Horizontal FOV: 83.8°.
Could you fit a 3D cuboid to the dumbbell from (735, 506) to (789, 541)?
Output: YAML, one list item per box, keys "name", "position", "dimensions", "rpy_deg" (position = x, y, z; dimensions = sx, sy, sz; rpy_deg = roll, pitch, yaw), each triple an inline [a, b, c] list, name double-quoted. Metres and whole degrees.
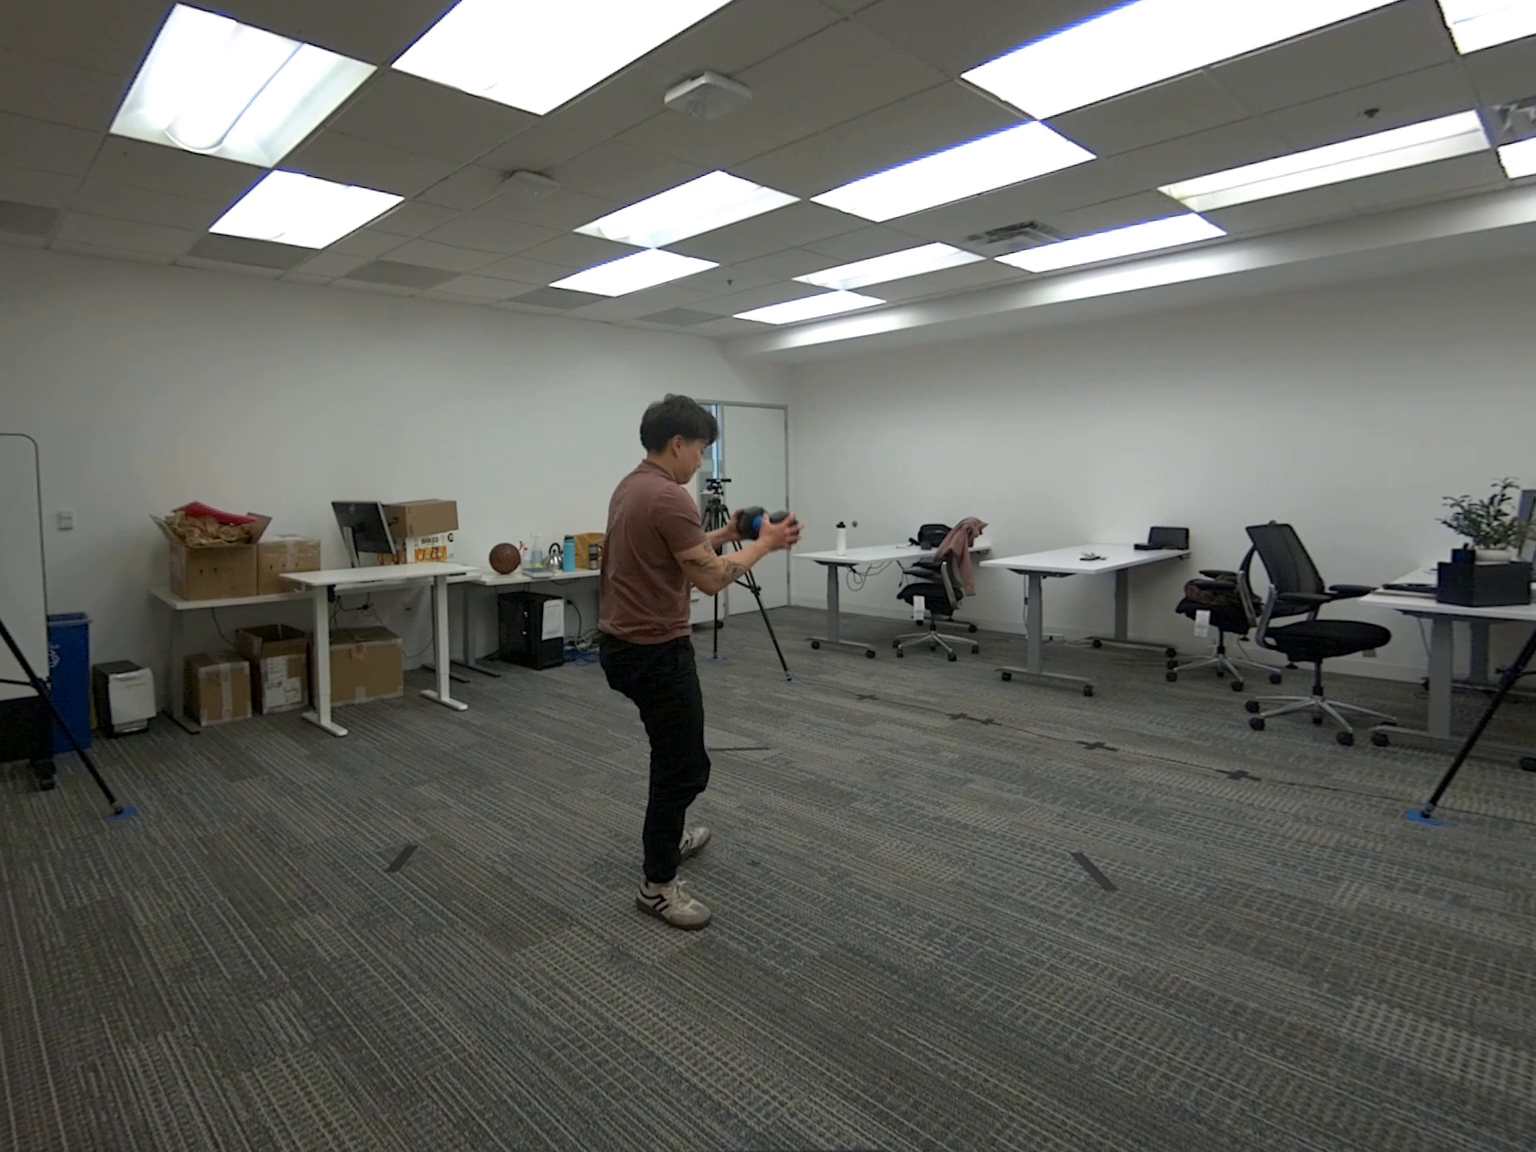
- name: "dumbbell"
  position: [-0.016, -0.160, 2.902]
  dimensions: [0.121, 0.107, 0.302]
  rpy_deg: [-12, 14, -27]
